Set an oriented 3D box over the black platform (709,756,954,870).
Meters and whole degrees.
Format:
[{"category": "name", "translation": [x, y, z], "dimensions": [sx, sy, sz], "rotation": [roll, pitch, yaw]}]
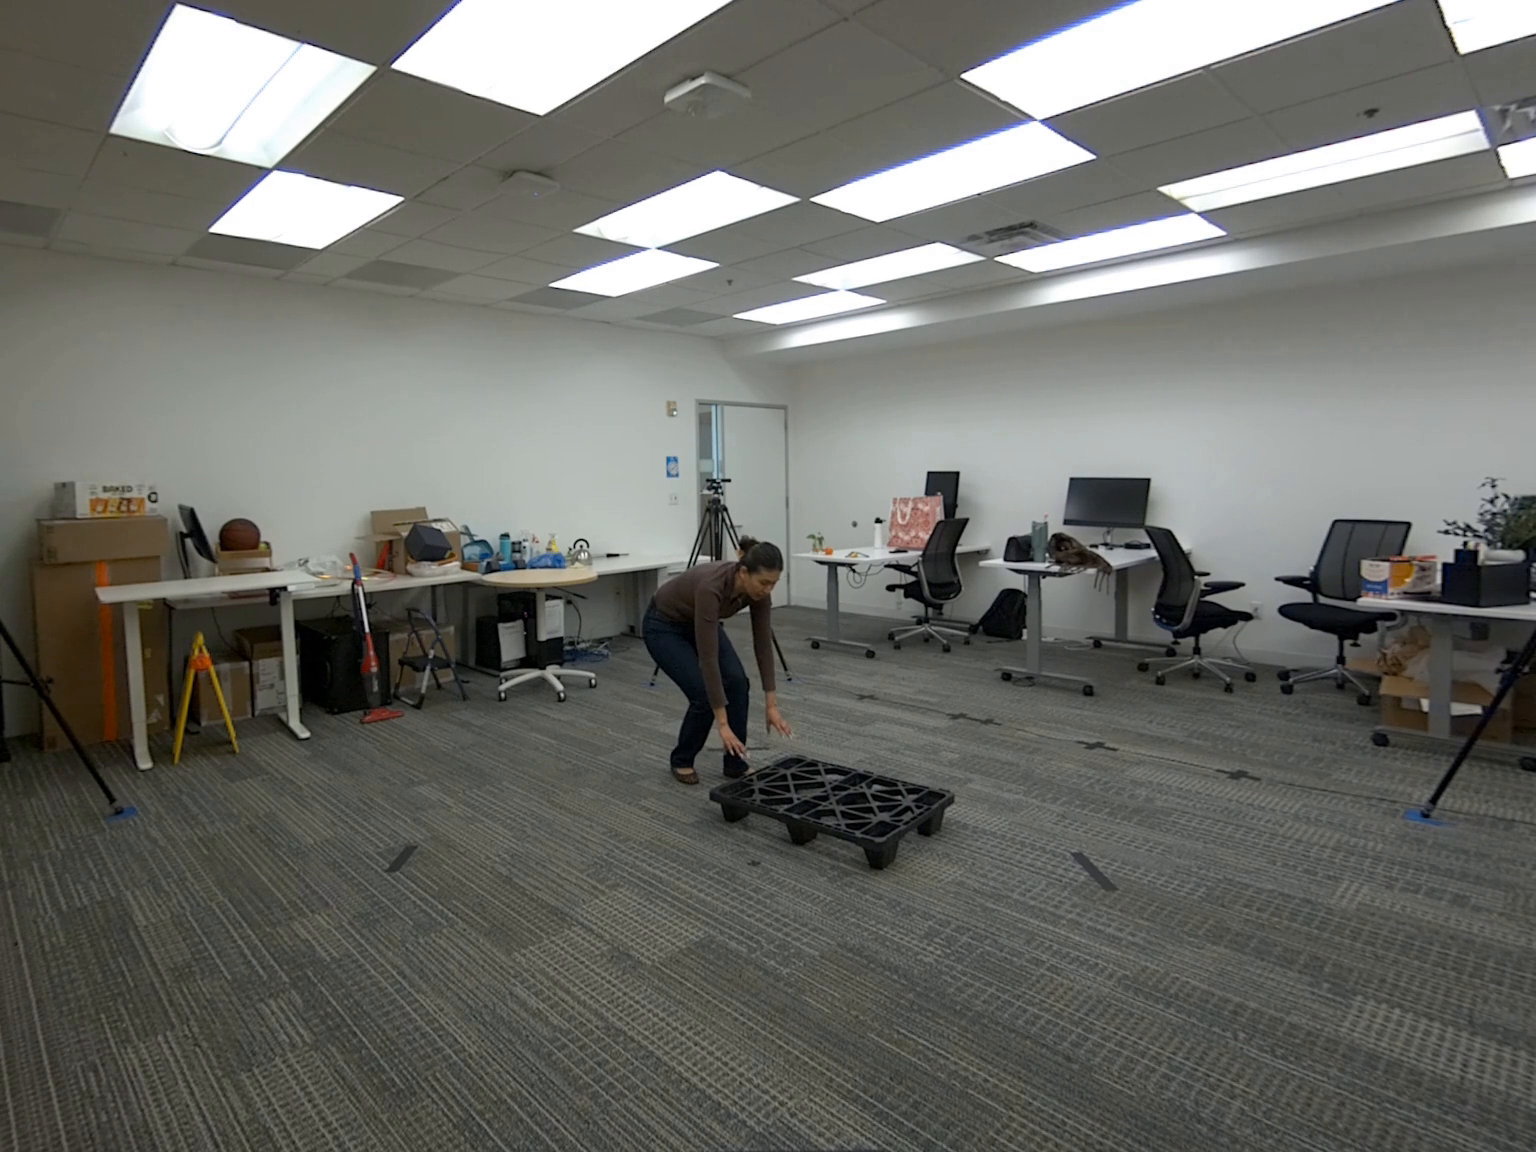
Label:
[{"category": "black platform", "translation": [0.254, 0.934, 3.442], "dimensions": [0.830, 0.143, 0.589], "rotation": [4, 7, 39]}]
